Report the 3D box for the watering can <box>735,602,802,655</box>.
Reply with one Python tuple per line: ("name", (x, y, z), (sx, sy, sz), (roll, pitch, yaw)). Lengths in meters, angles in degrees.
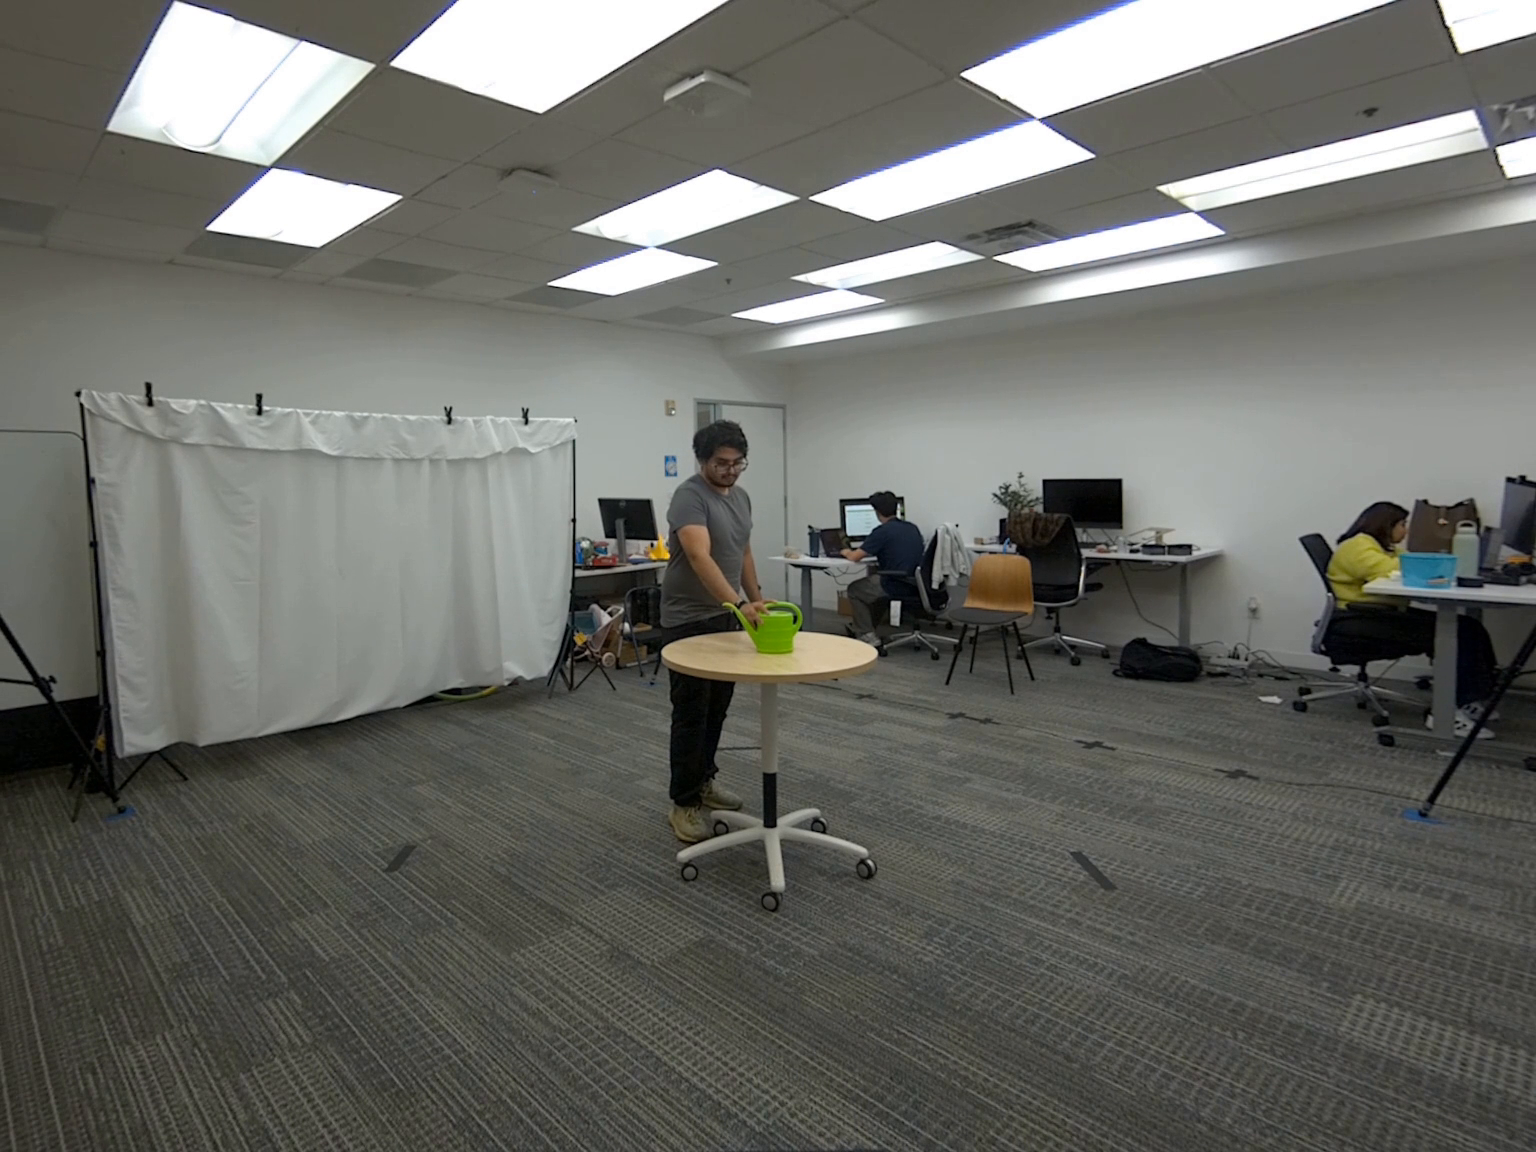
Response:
("watering can", (-0.013, 0.183, 3.021), (0.279, 0.176, 0.098), (1, 6, 4))
